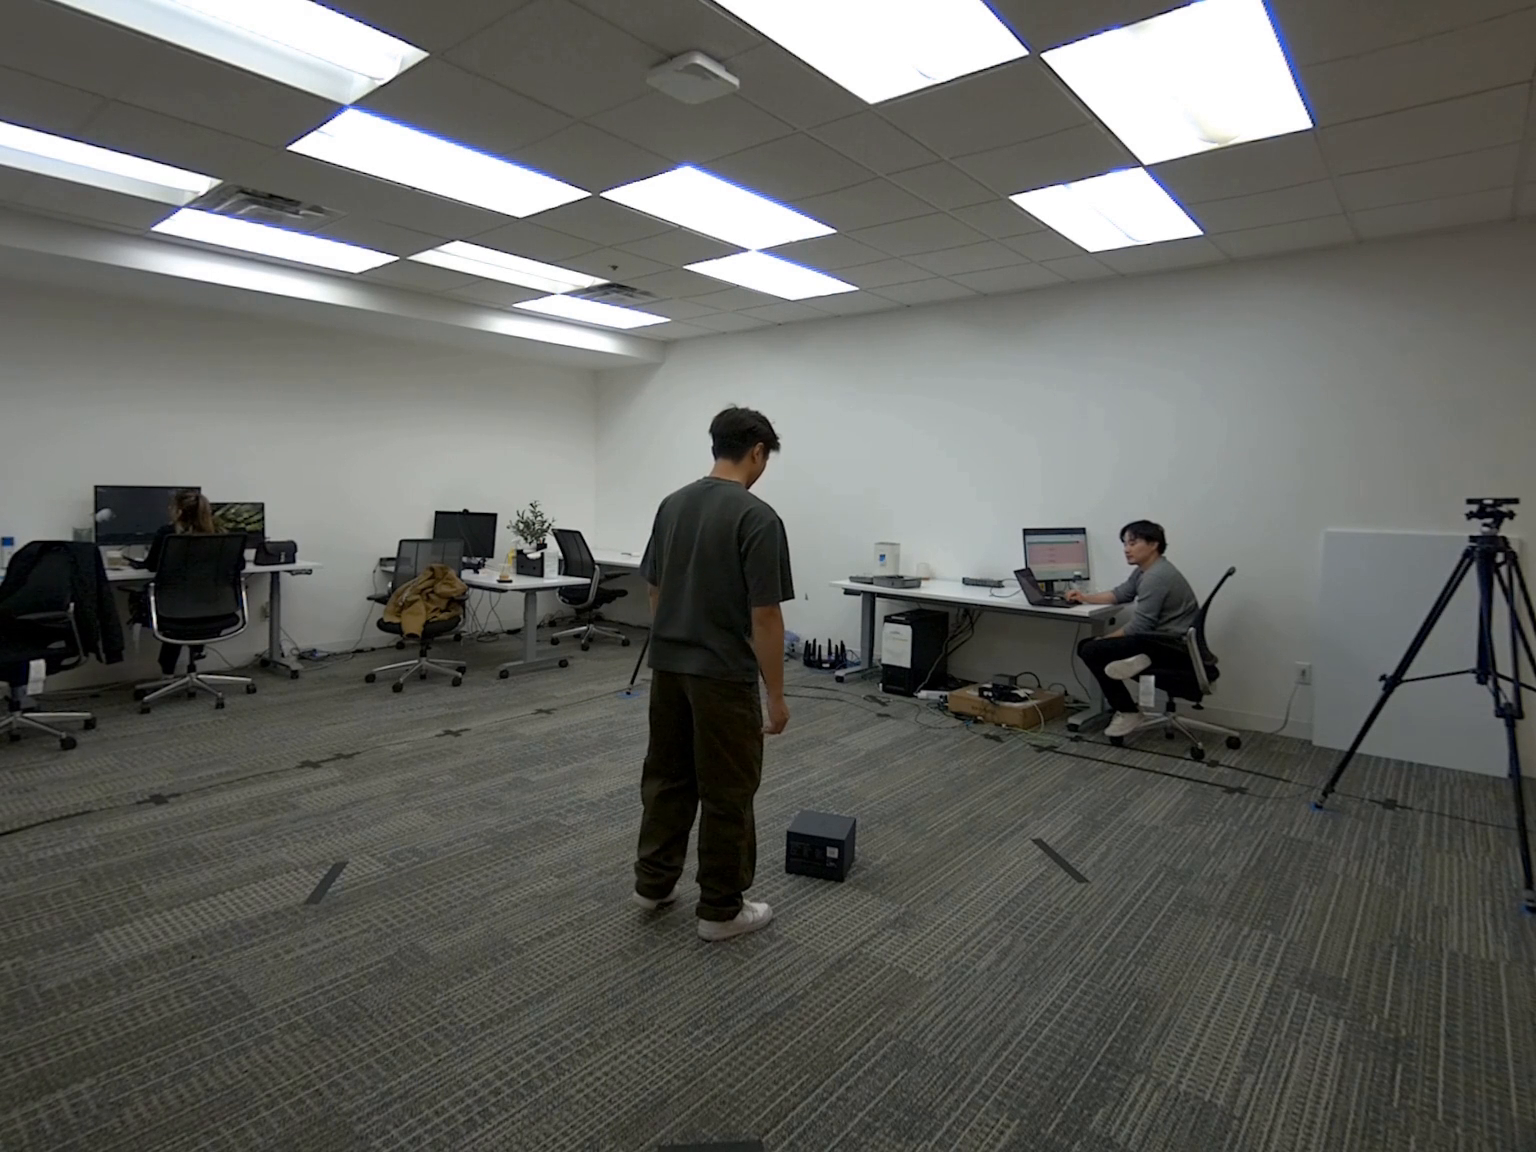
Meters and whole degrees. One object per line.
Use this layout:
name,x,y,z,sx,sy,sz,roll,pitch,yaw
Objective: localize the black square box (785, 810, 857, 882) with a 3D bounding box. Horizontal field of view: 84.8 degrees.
black square box,0.190,0.985,3.152,0.221,0.155,0.224,2,5,18
